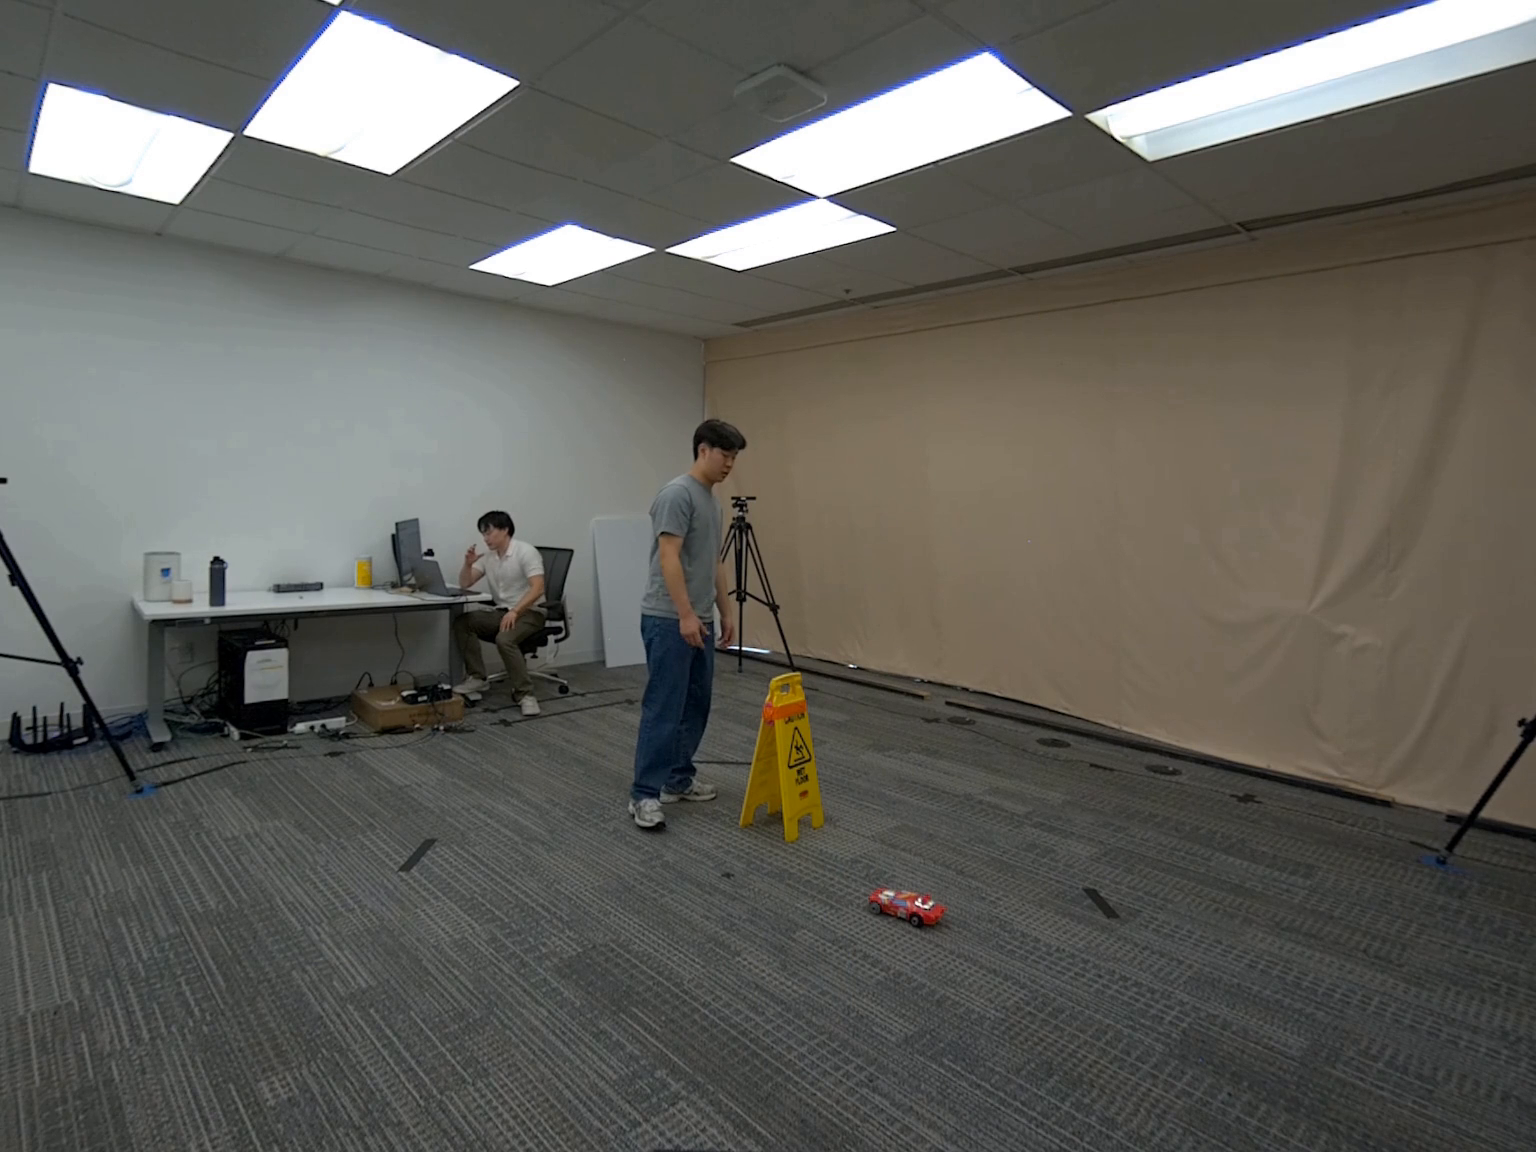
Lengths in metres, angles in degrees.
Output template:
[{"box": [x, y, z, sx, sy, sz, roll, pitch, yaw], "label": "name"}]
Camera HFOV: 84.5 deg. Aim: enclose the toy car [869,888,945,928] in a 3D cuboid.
[{"box": [0.467, 1.116, 2.825, 0.259, 0.083, 0.127, -7, -2, 34], "label": "toy car"}]
